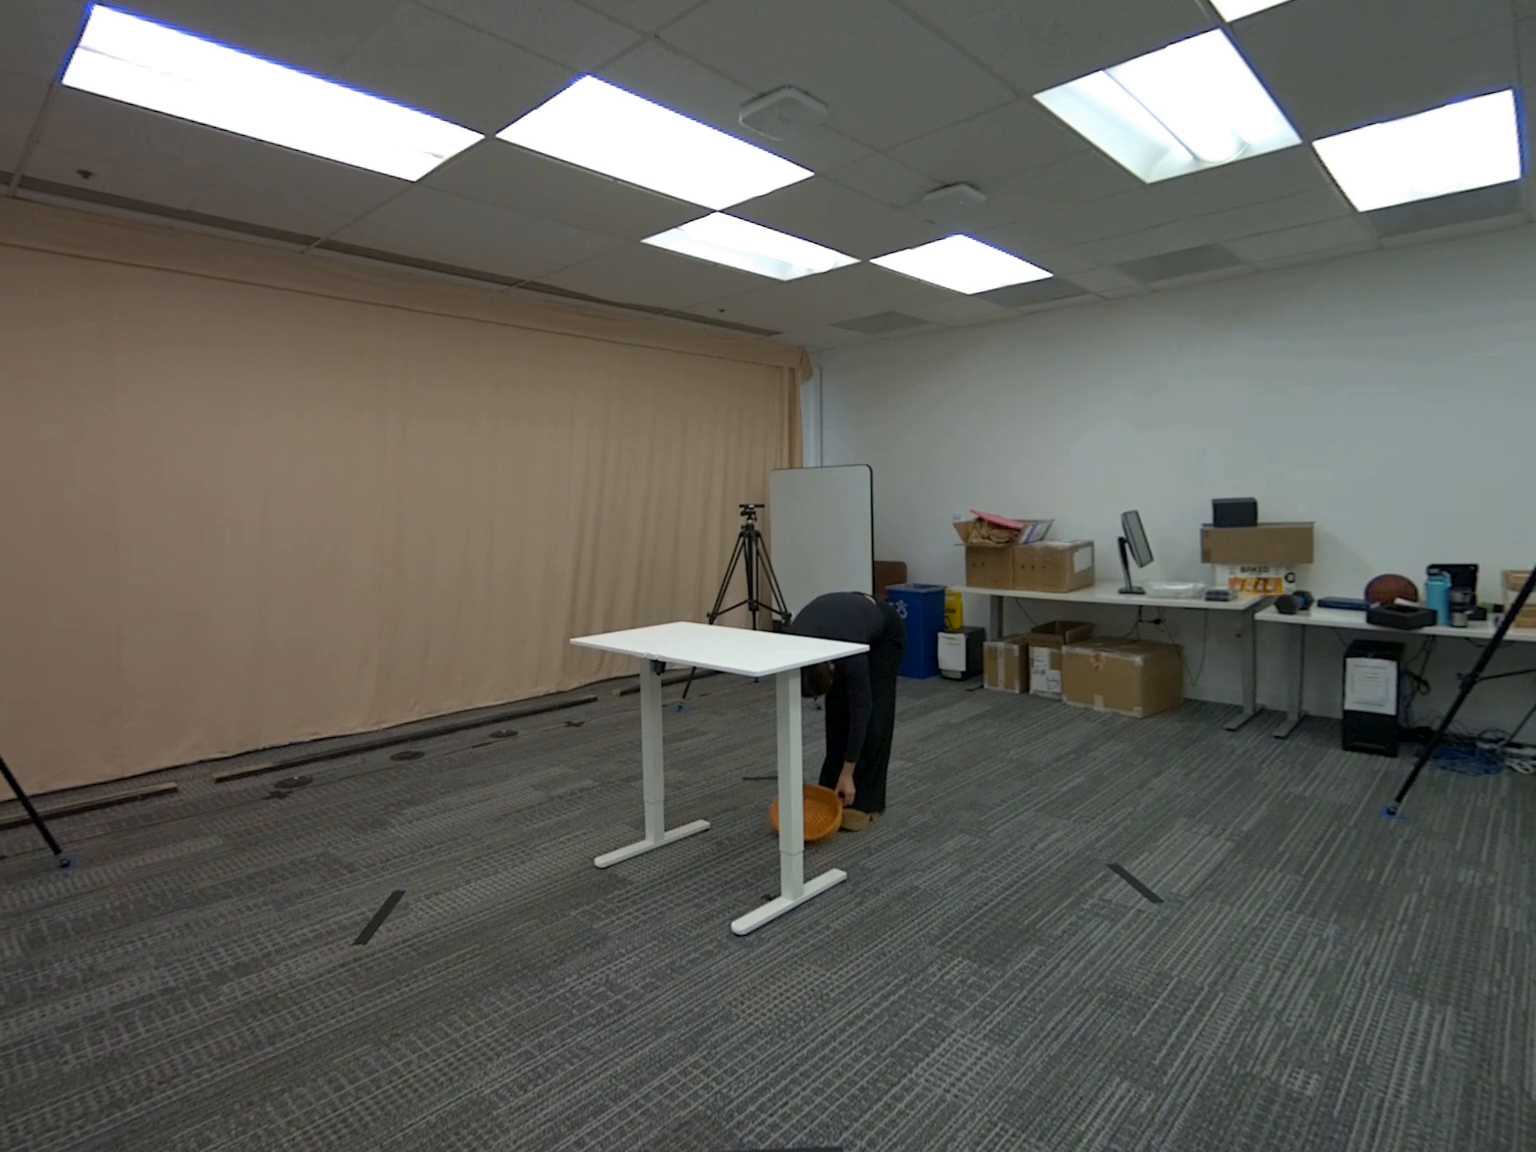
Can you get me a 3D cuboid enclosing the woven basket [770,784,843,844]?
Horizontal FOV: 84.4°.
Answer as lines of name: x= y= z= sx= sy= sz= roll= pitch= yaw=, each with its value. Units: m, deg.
woven basket: x=0.164 y=0.988 z=3.502 sx=0.362 sy=0.071 sz=0.251 roll=2 pitch=46 yaw=44
